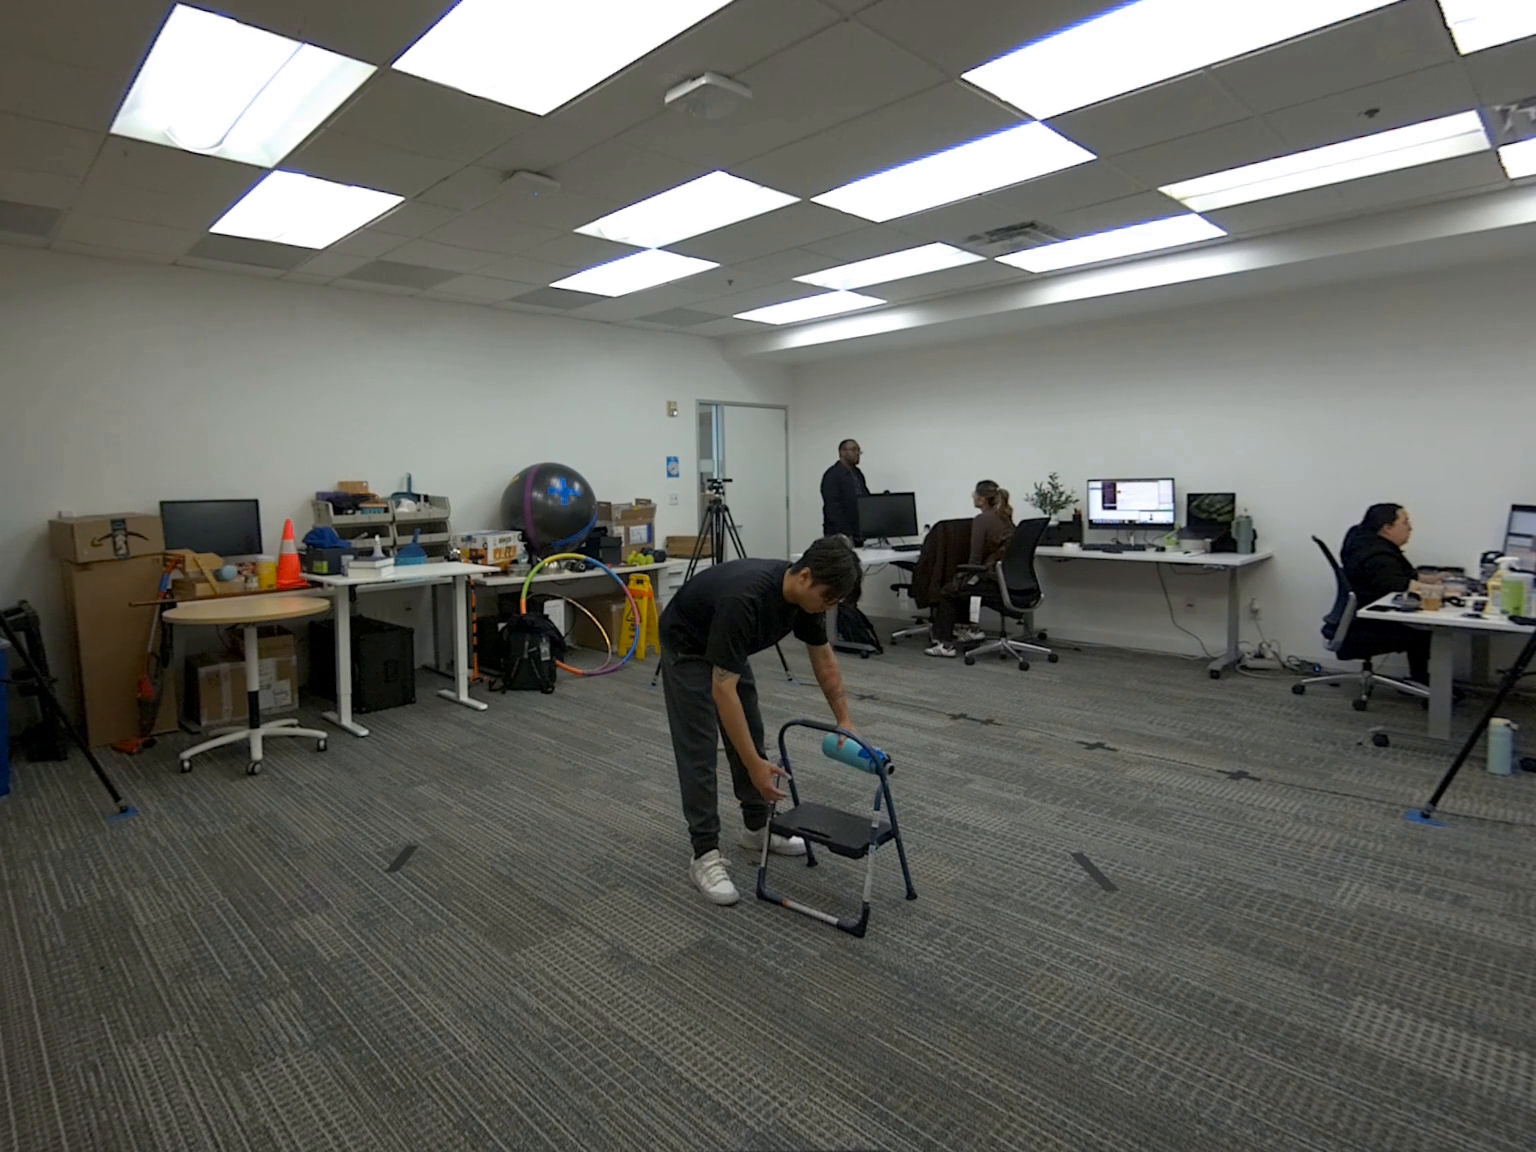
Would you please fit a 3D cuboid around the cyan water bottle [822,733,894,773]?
[{"bbox_3d":[0.310,0.612,2.948,0.090,0.092,0.292,-5,9,-36],"label":"cyan water bottle"}]
